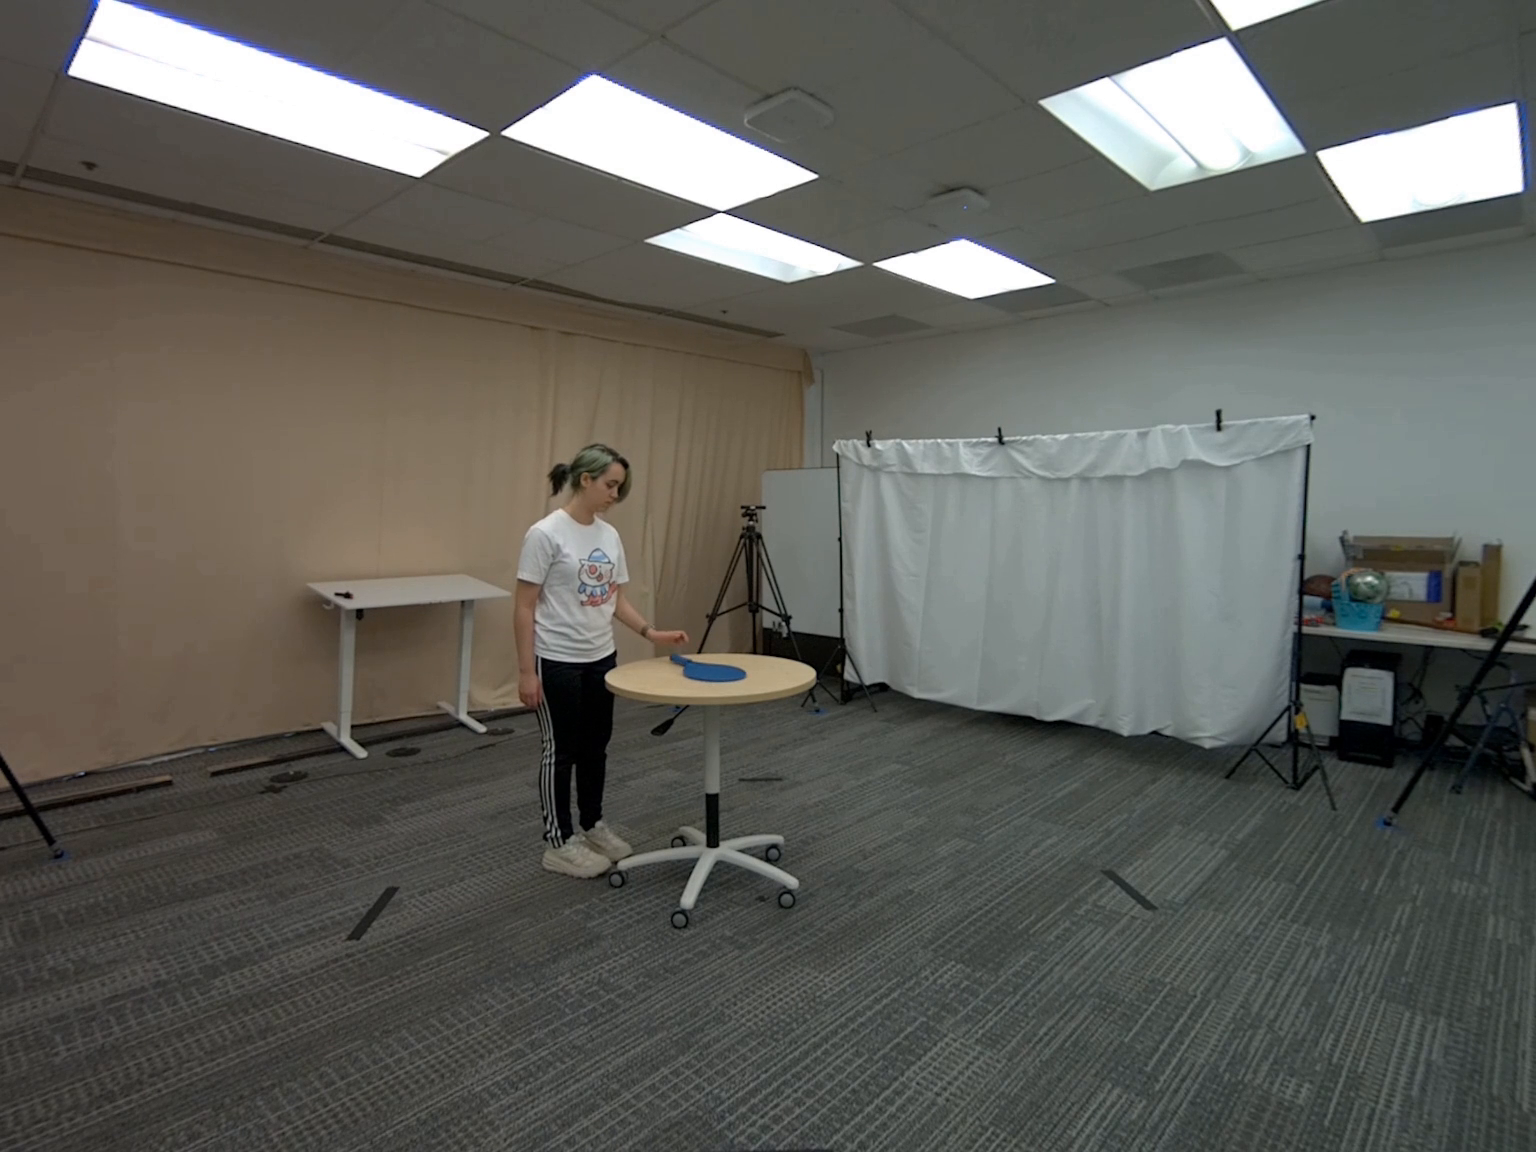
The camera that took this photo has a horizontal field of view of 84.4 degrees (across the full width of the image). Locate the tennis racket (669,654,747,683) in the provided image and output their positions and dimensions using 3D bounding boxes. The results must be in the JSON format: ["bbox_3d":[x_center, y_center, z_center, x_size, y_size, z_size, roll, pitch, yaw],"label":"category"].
[{"bbox_3d":[-0.243,0.342,3.090,0.207,0.032,0.447,-2,6,-36],"label":"tennis racket"}]
